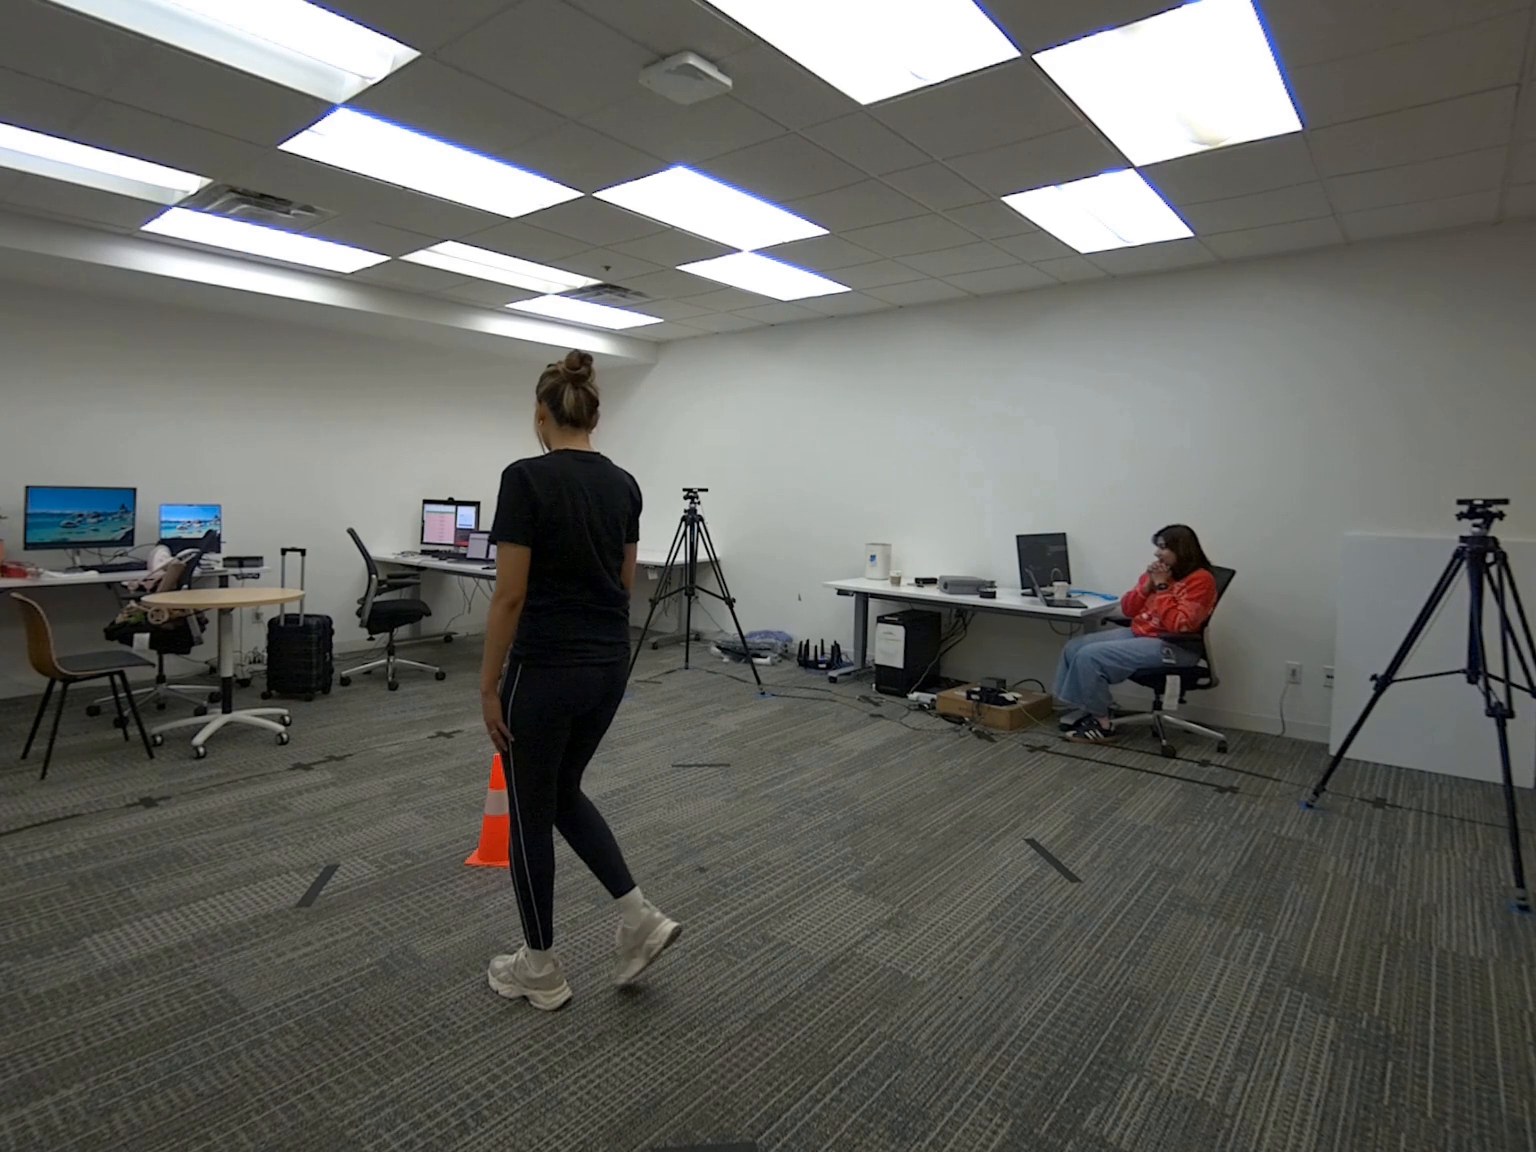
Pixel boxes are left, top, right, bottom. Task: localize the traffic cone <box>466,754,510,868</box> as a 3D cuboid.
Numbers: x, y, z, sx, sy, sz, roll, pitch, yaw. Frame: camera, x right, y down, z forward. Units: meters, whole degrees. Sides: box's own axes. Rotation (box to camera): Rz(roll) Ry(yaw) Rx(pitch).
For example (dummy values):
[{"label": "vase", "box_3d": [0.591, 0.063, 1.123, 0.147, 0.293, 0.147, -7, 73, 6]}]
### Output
[{"label": "traffic cone", "box_3d": [-1.025, 0.863, 3.196, 0.206, 0.383, 0.202, 1, 3, 5]}]
